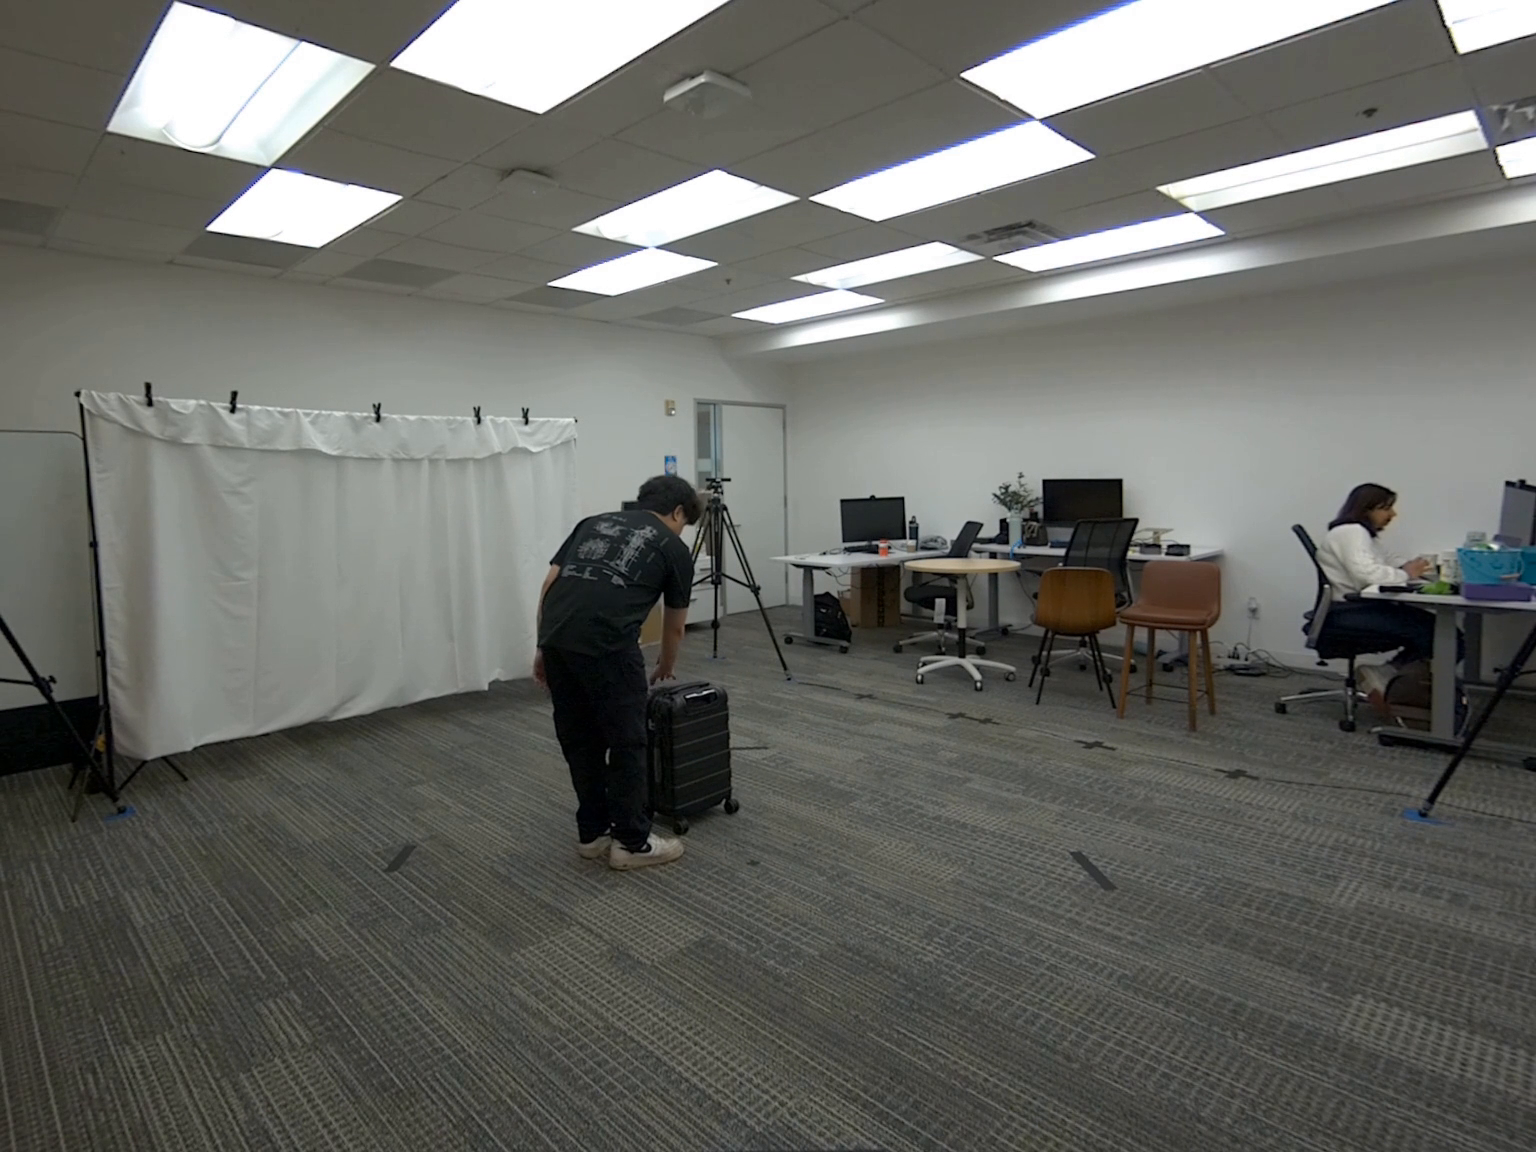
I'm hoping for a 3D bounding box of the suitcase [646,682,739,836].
[{"bbox_3d":[-0.346,0.720,3.546,0.255,0.548,0.366,0,4,44],"label":"suitcase"}]
